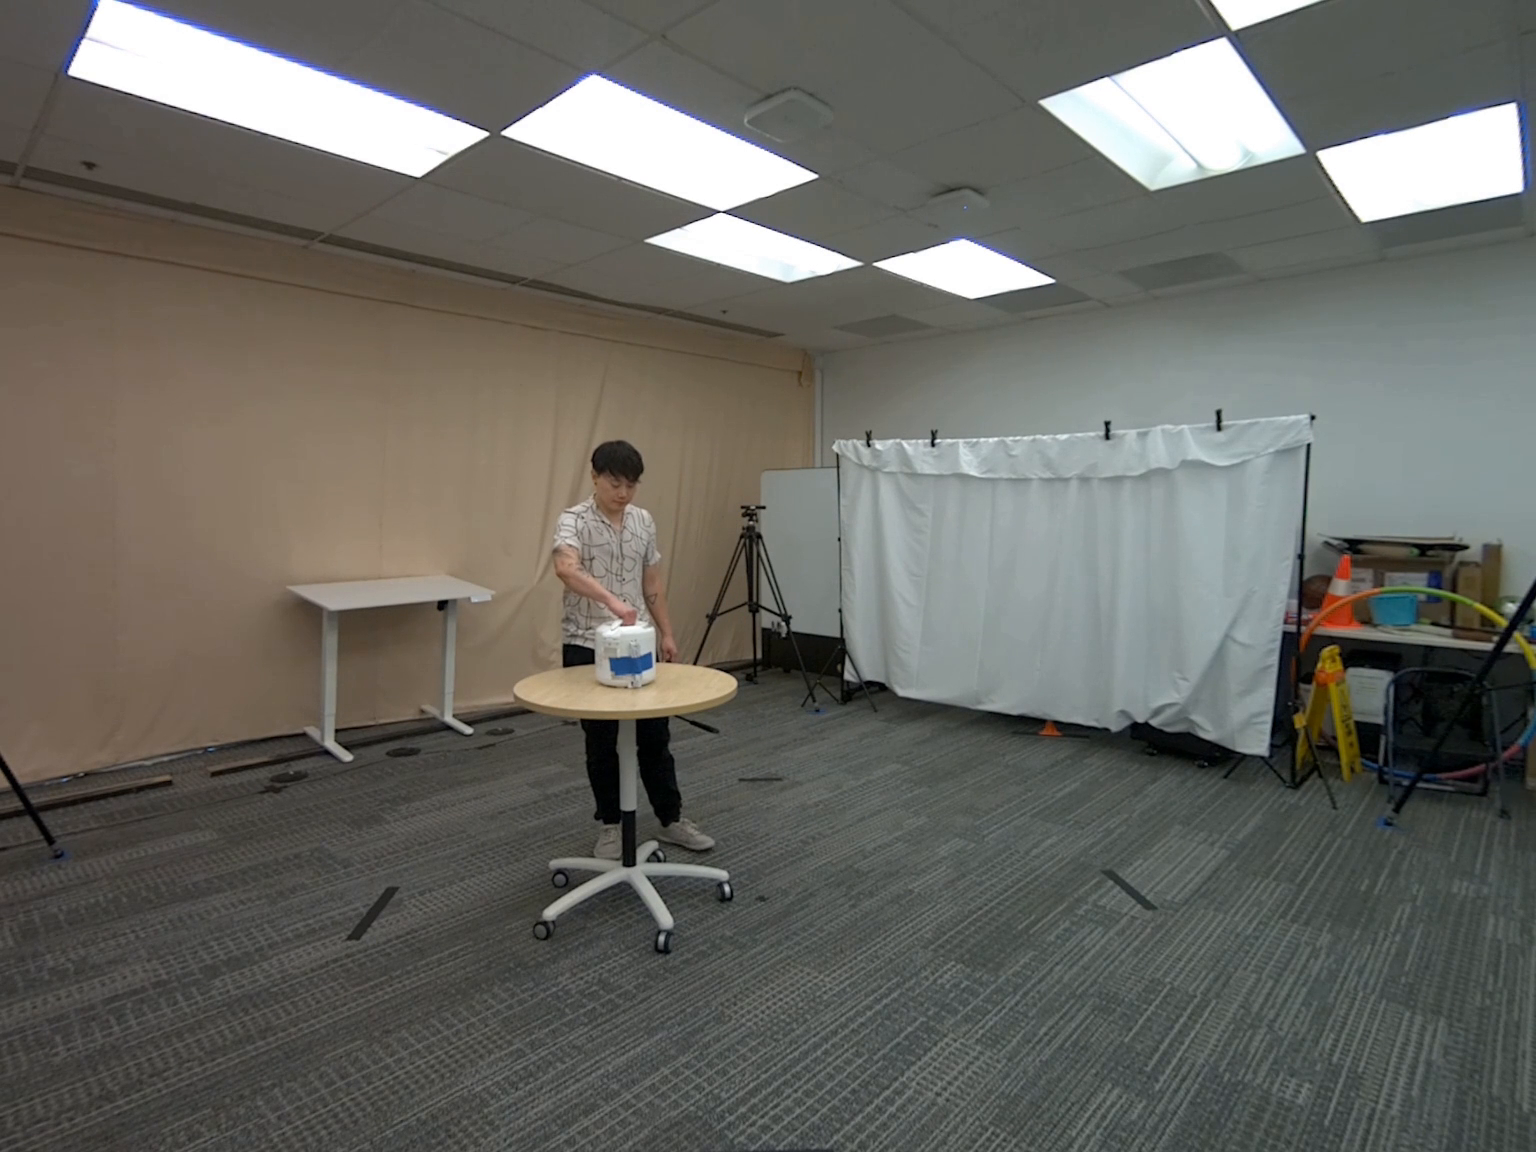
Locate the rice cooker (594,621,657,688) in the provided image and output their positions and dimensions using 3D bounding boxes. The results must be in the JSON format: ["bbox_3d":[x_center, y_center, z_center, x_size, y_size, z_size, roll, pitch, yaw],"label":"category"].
[{"bbox_3d":[-0.491,0.256,2.912,0.222,0.232,0.216,2,4,20],"label":"rice cooker"}]
